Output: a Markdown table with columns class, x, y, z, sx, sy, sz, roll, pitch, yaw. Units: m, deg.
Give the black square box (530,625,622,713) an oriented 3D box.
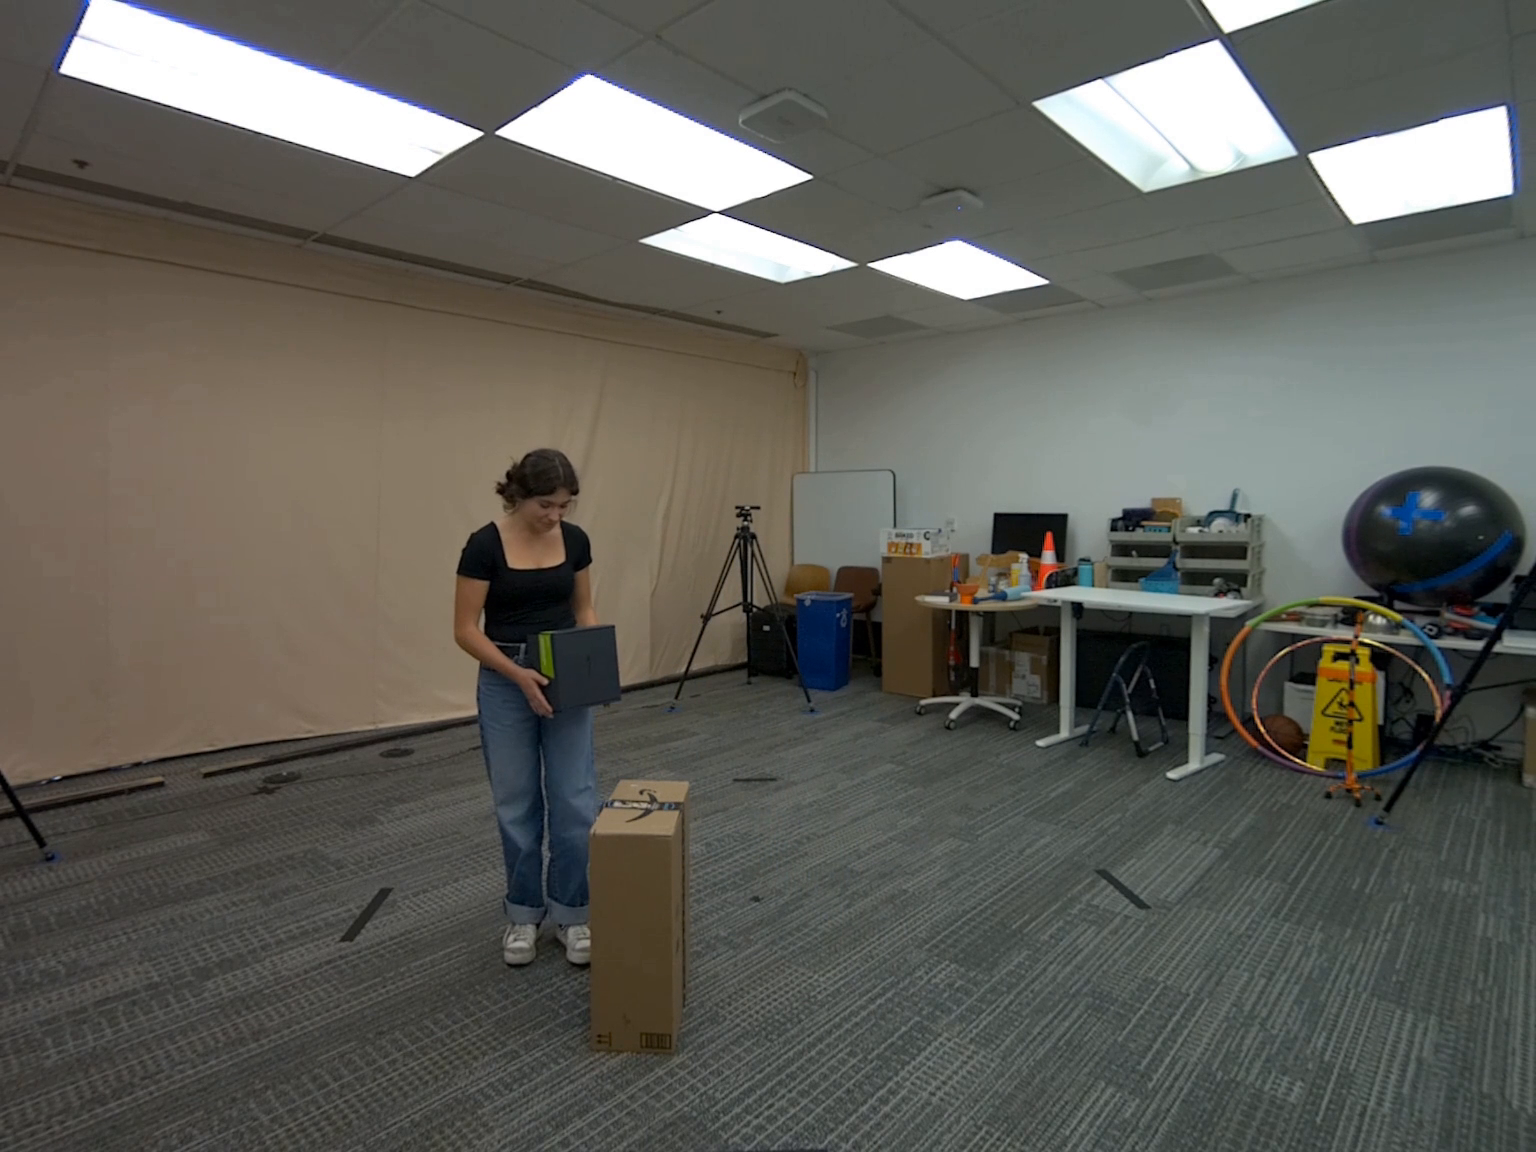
| class | x | y | z | sx | sy | sz | roll | pitch | yaw |
| --- | --- | --- | --- | --- | --- | --- | --- | --- | --- |
| black square box | -0.581 | 0.270 | 2.507 | 0.210 | 0.228 | 0.161 | -4 | 0 | -42 |
